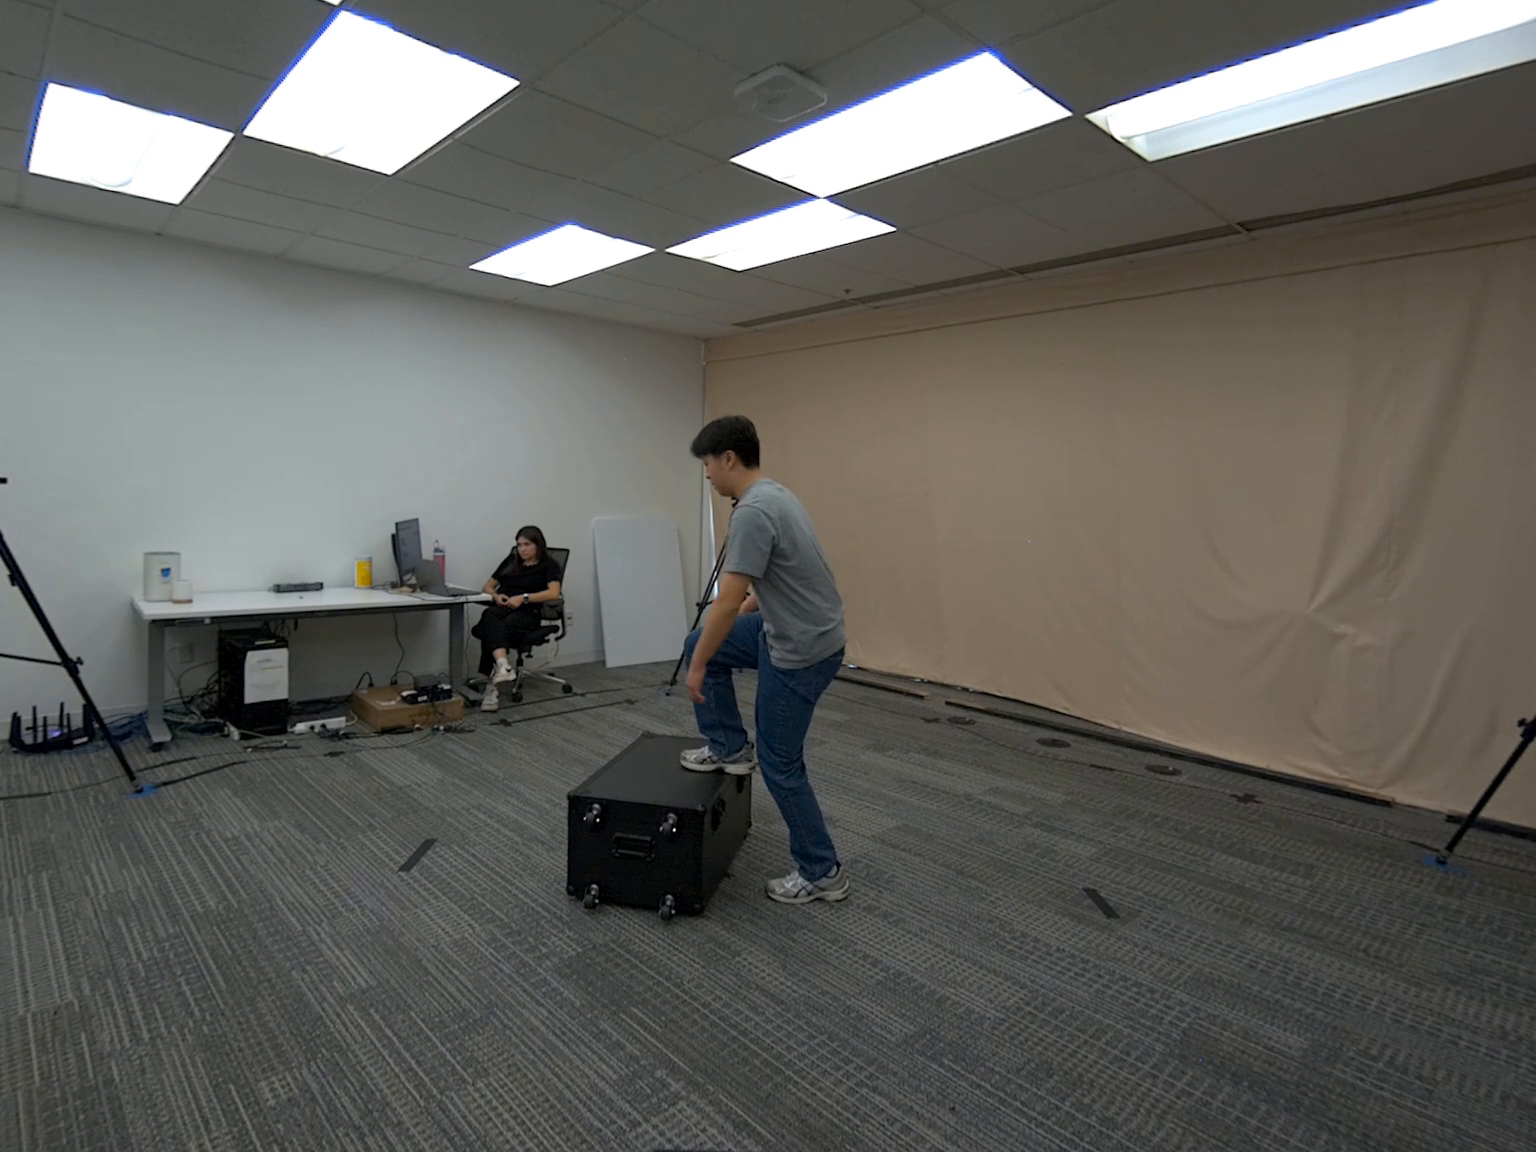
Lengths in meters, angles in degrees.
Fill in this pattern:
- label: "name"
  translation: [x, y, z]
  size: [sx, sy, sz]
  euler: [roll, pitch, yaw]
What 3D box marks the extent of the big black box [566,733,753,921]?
- label: "big black box"
  translation: [-0.388, 0.902, 3.155]
  size: [0.527, 0.395, 0.855]
  euler: [3, 5, 12]
